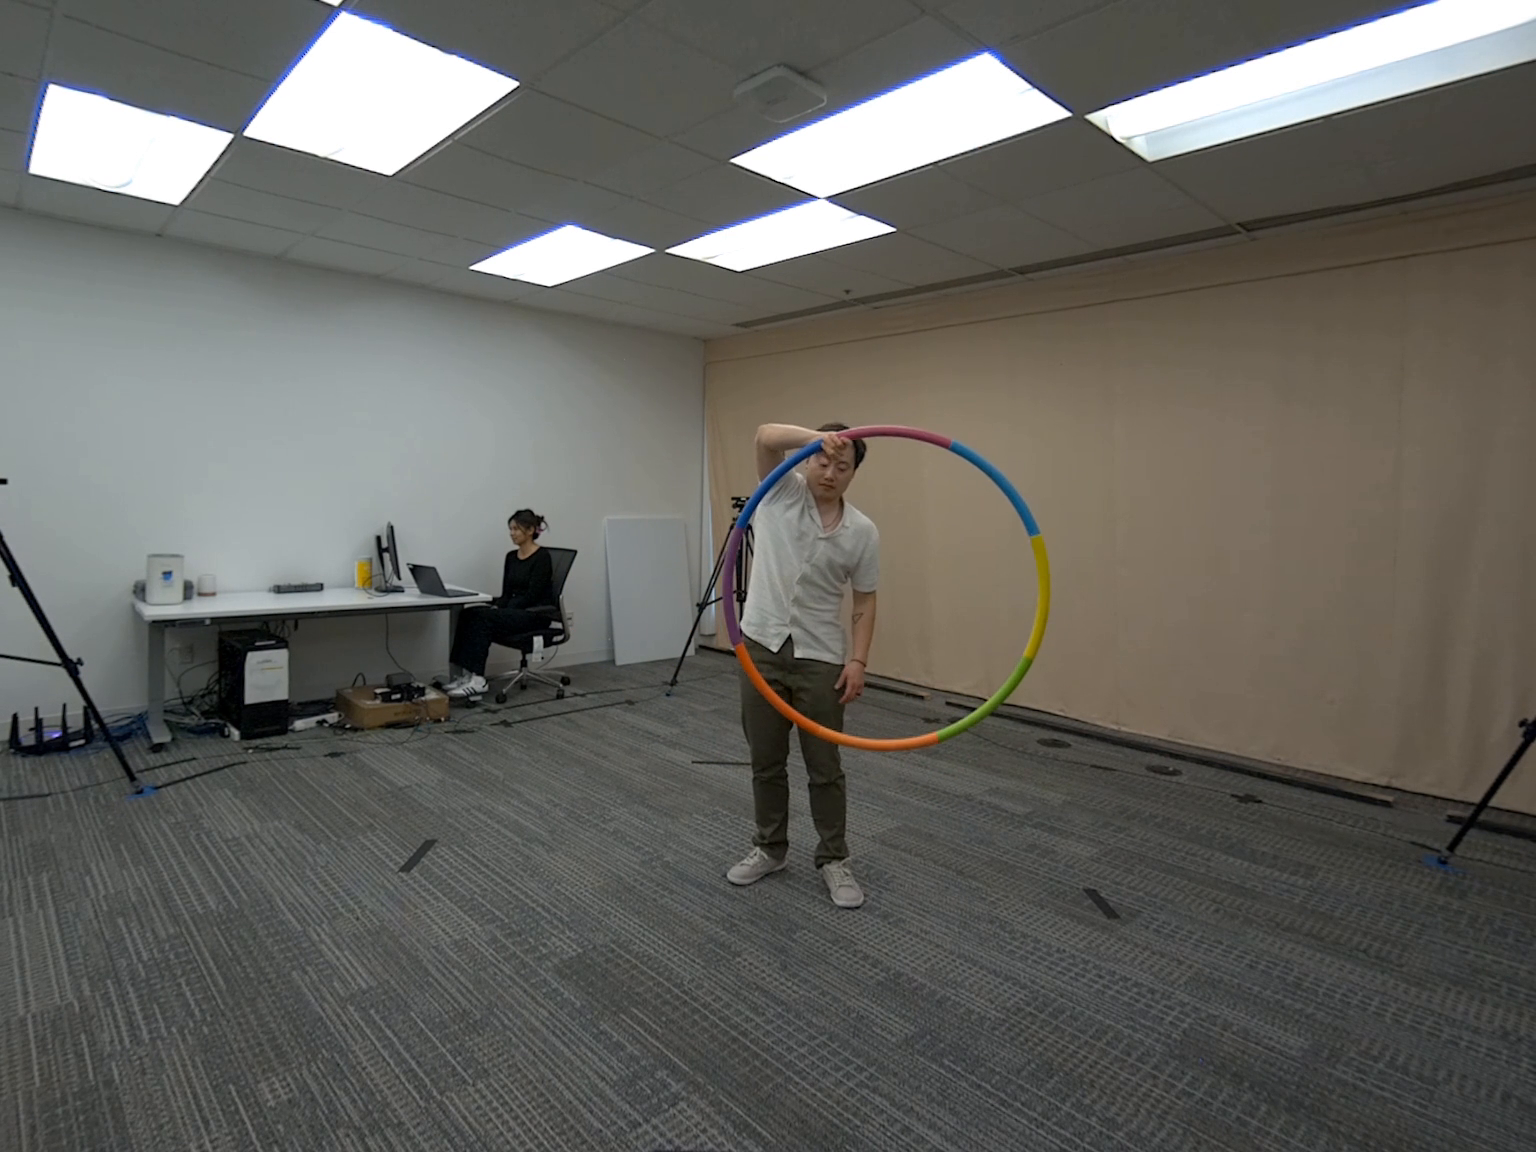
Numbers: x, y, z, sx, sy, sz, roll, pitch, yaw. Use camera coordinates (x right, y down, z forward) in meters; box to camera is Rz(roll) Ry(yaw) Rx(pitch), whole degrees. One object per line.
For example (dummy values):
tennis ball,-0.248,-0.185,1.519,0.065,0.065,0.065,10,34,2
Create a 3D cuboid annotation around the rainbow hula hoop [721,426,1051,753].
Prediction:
rainbow hula hoop,0.349,0.047,2.555,0.984,0.976,0.035,2,3,7
